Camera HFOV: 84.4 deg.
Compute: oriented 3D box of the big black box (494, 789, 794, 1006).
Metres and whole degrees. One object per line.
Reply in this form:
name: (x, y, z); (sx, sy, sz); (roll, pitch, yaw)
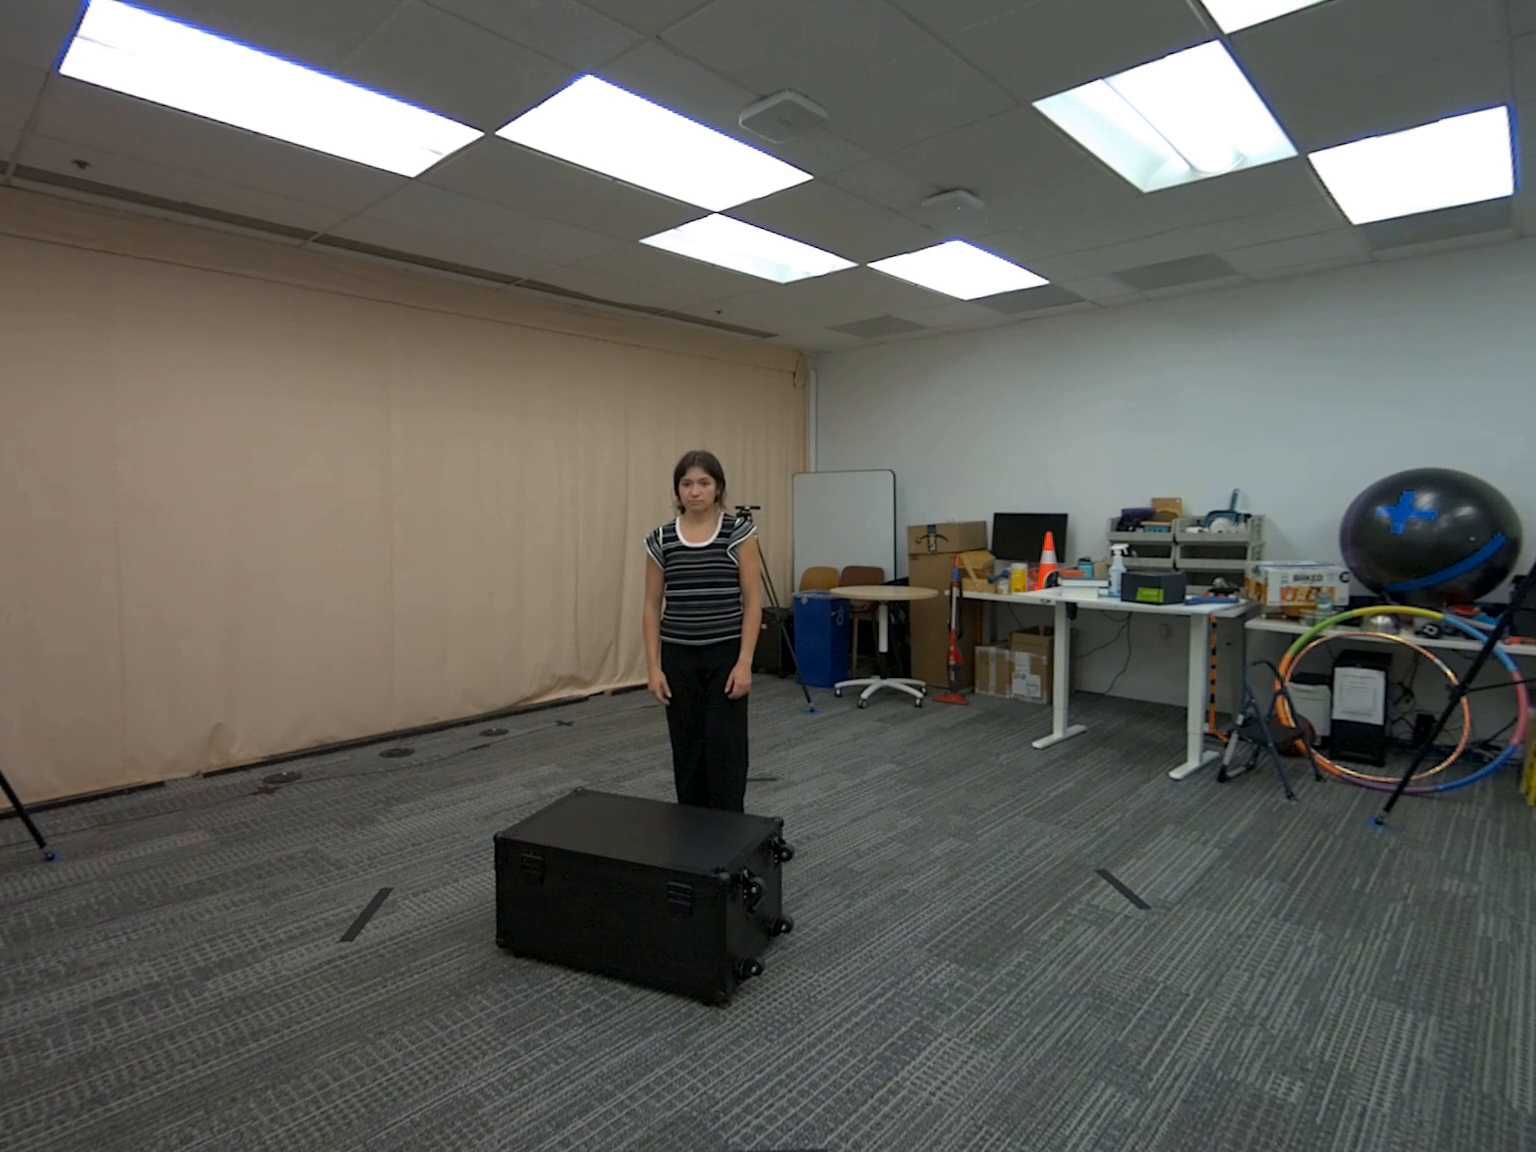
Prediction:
big black box: (-0.367, 0.982, 2.664); (0.881, 0.395, 0.510); (1, 3, 22)
